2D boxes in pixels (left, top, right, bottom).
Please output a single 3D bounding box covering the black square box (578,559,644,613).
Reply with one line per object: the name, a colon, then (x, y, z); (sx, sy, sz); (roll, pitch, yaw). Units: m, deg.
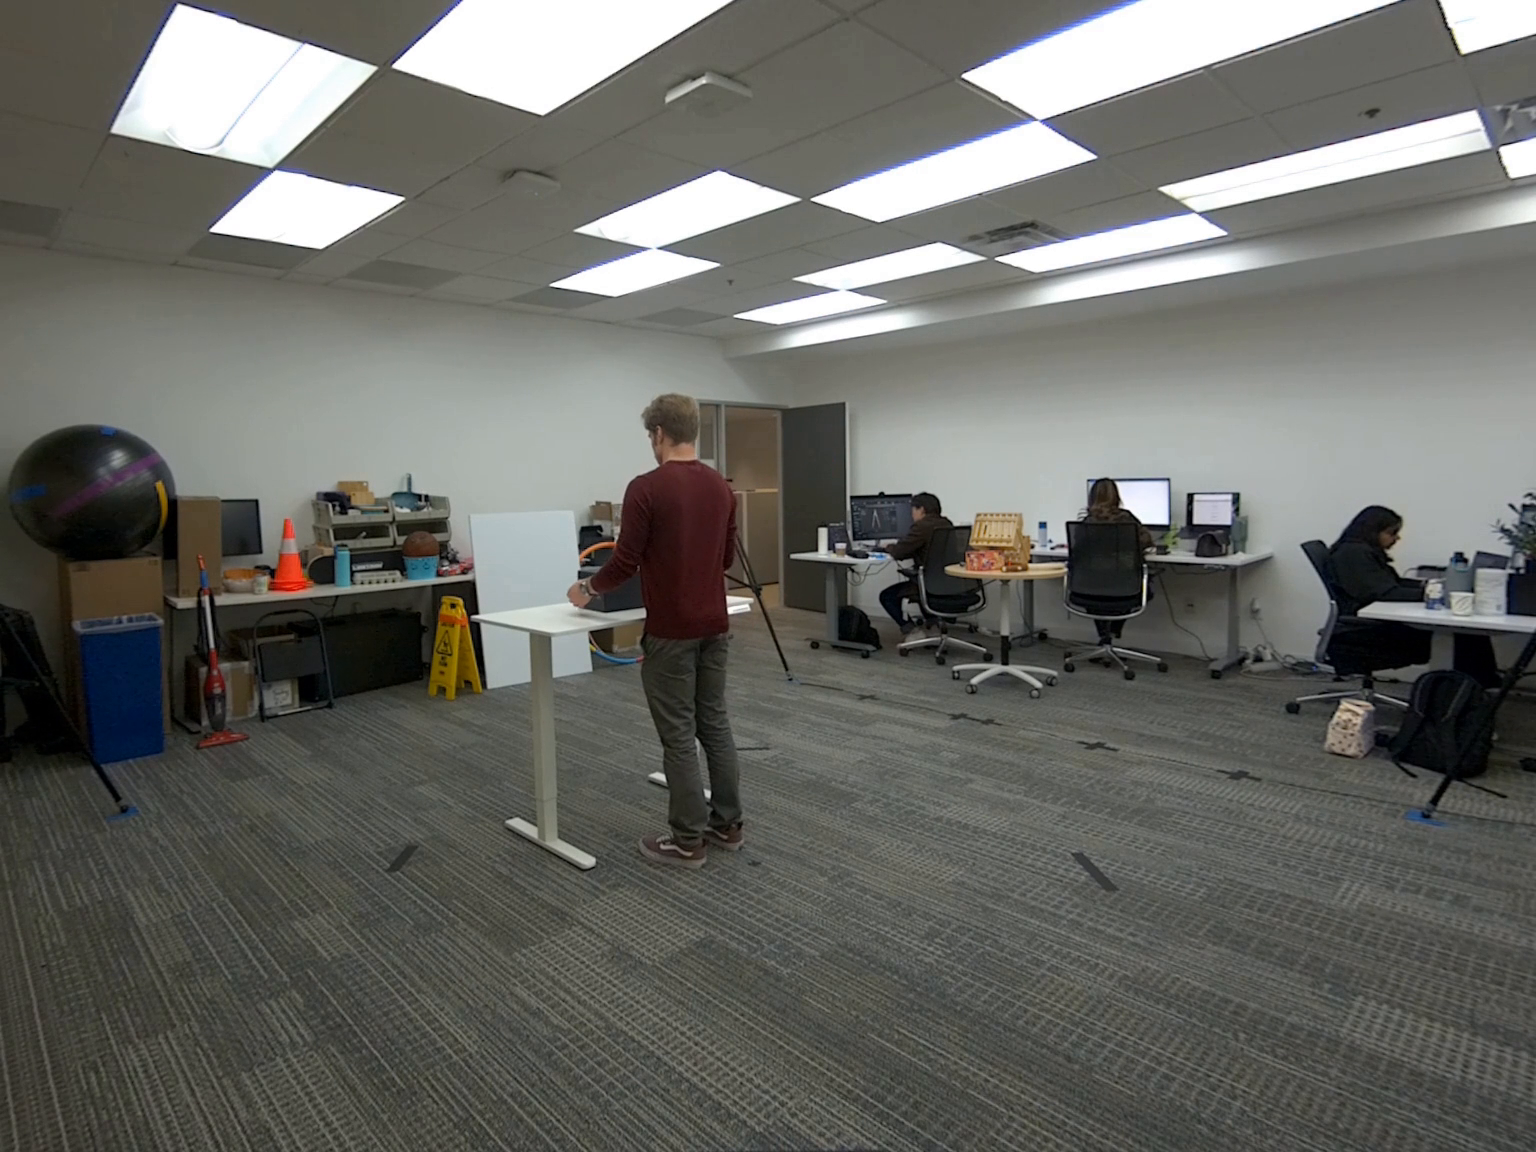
black square box: (-0.624, 0.047, 3.492); (0.222, 0.155, 0.223); (-7, 8, -39)
